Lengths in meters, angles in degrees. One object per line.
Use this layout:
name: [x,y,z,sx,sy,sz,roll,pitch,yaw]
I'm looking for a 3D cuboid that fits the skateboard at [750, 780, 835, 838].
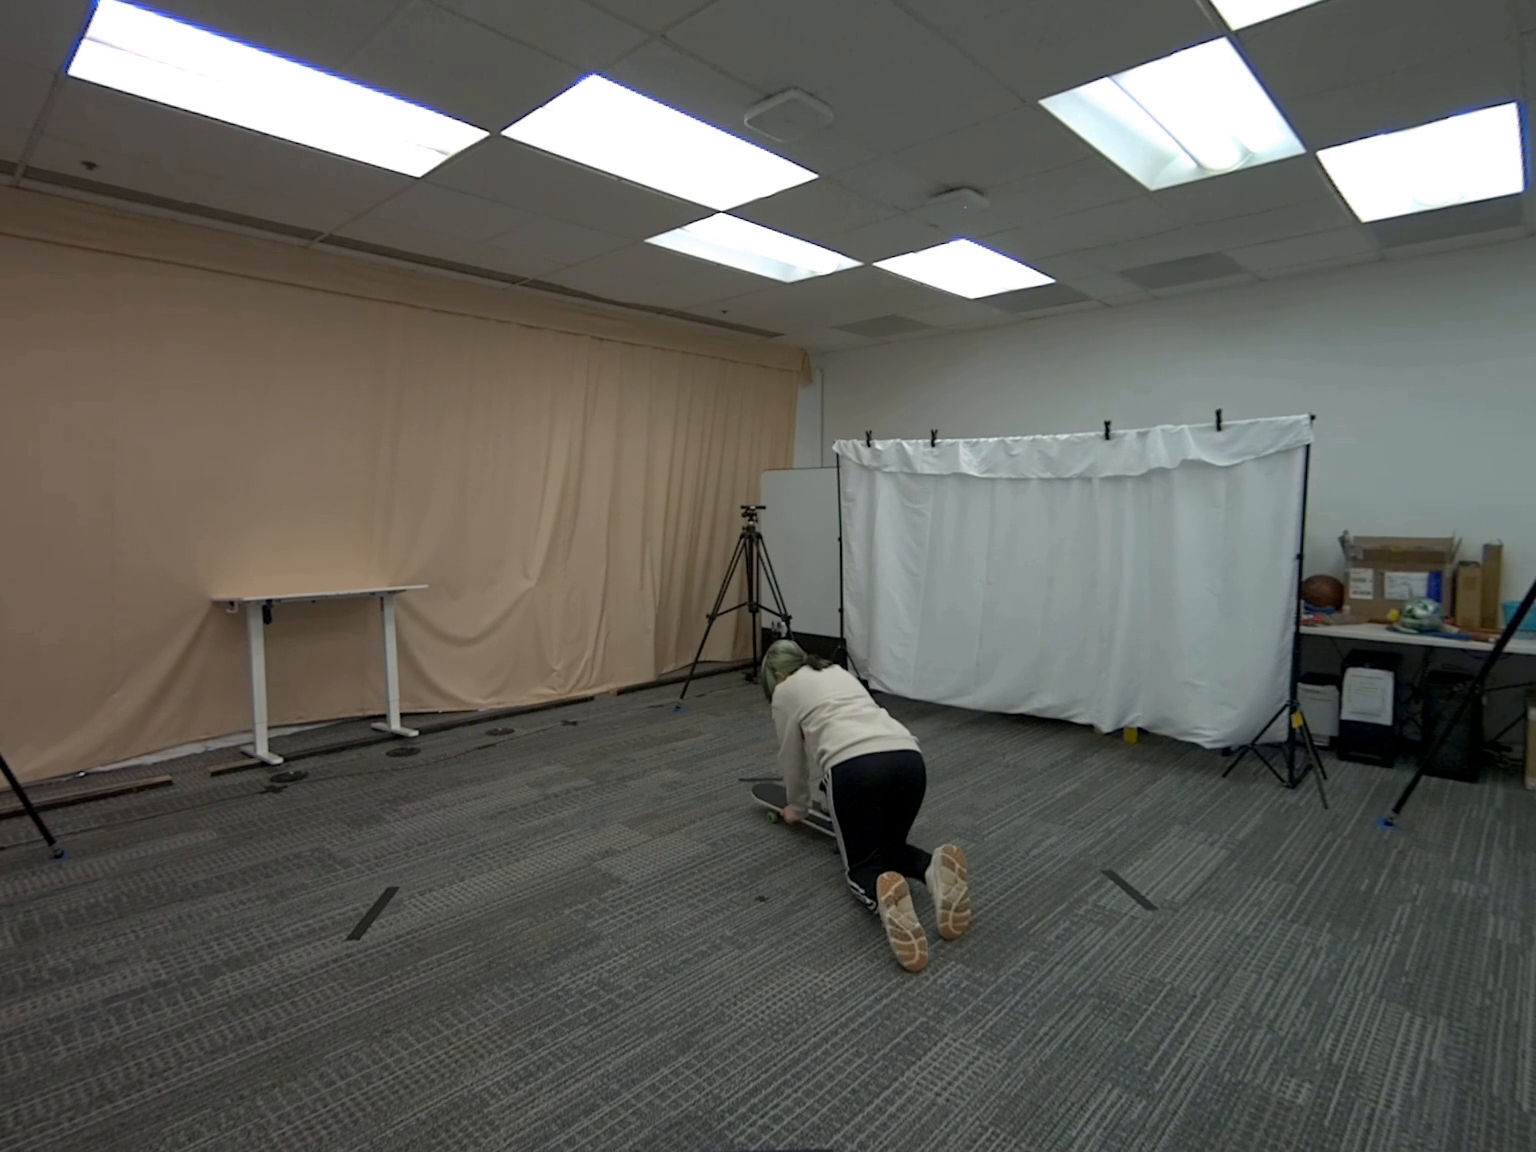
skateboard: [0.204,1.037,3.588,0.188,0.110,0.811,-3,6,-38]
